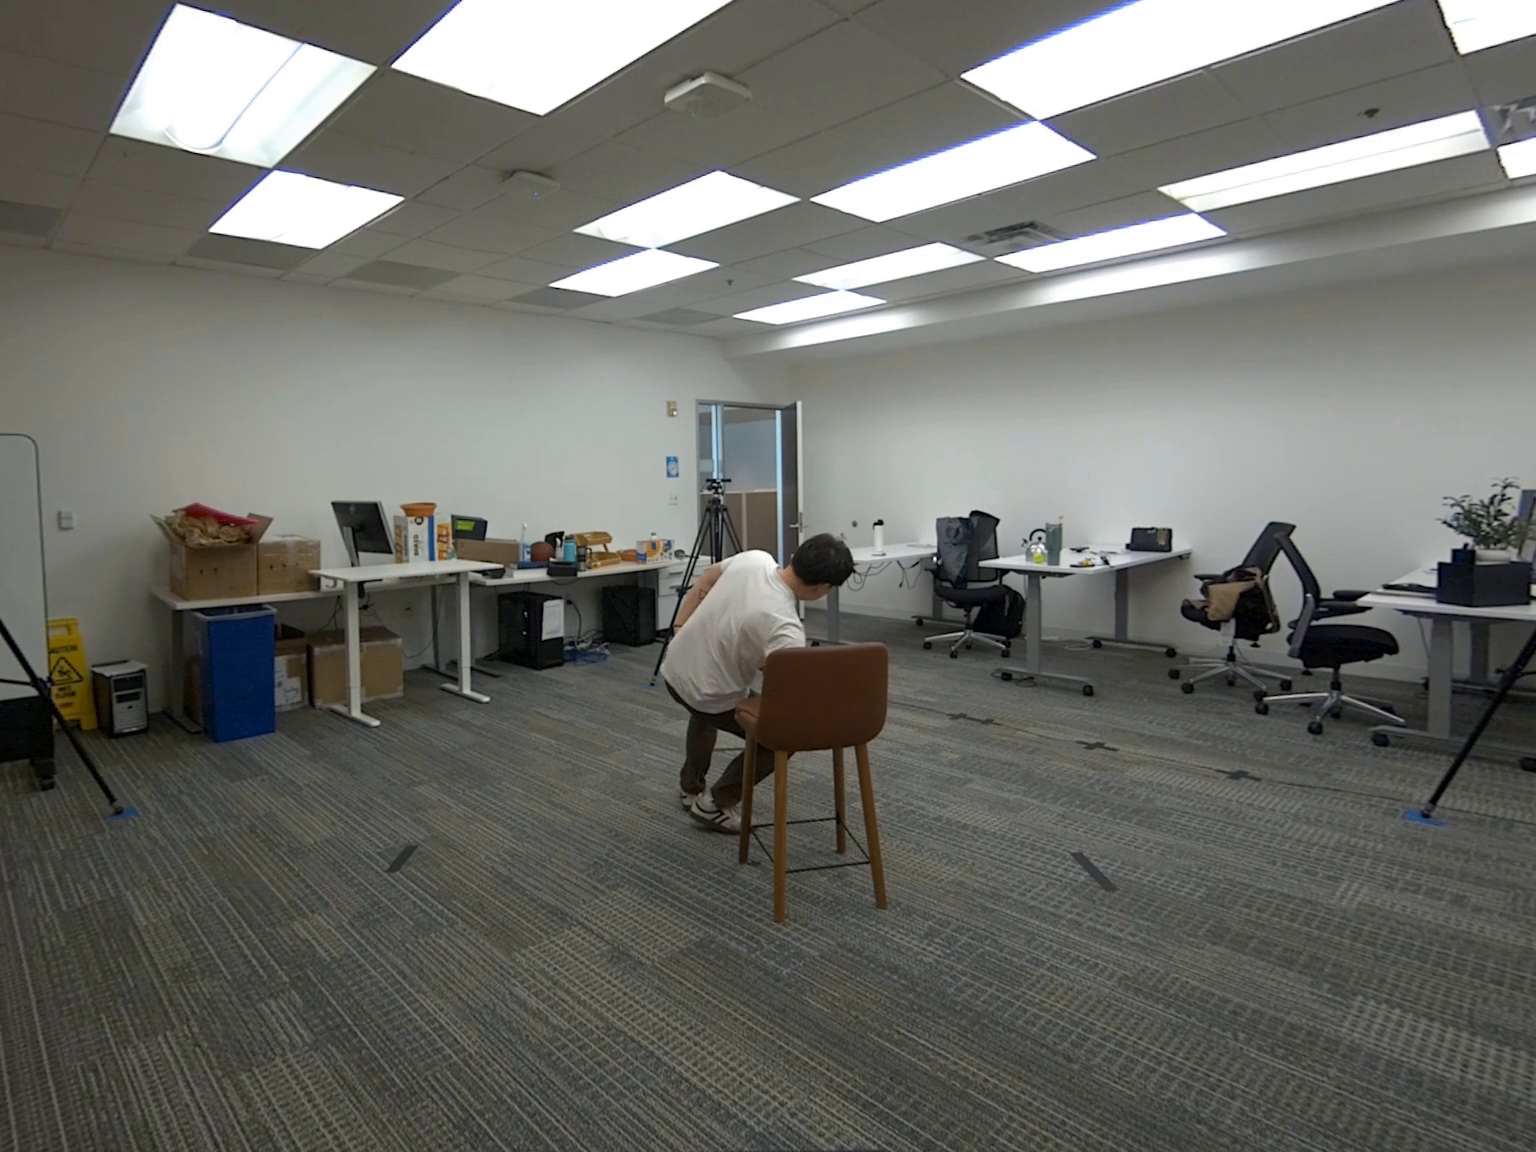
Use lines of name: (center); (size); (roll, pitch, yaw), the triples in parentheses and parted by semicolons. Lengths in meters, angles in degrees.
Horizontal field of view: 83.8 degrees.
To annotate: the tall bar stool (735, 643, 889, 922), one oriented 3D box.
tall bar stool: (0.145, 0.626, 2.915); (0.451, 0.886, 0.476); (-2, 5, -14)
